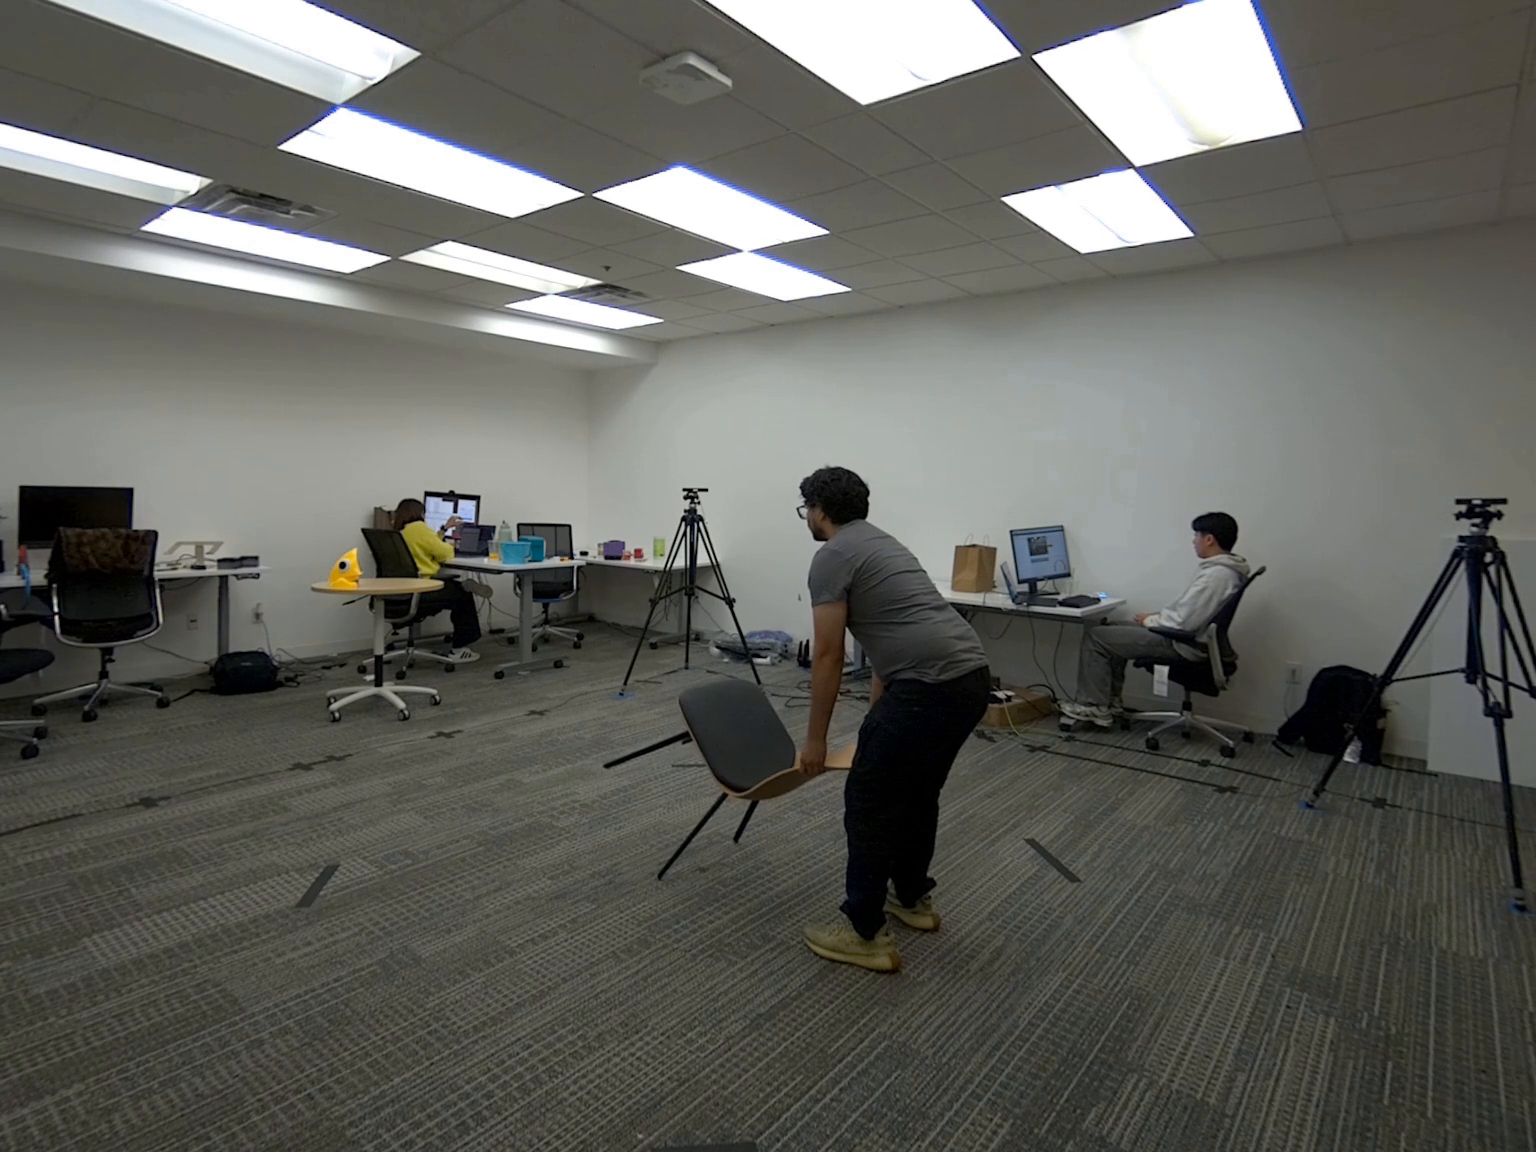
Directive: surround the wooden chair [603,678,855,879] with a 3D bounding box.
[{"bbox_3d":[-0.117,0.621,3.058,0.882,0.536,0.464,-39,-21,32],"label":"wooden chair"}]
